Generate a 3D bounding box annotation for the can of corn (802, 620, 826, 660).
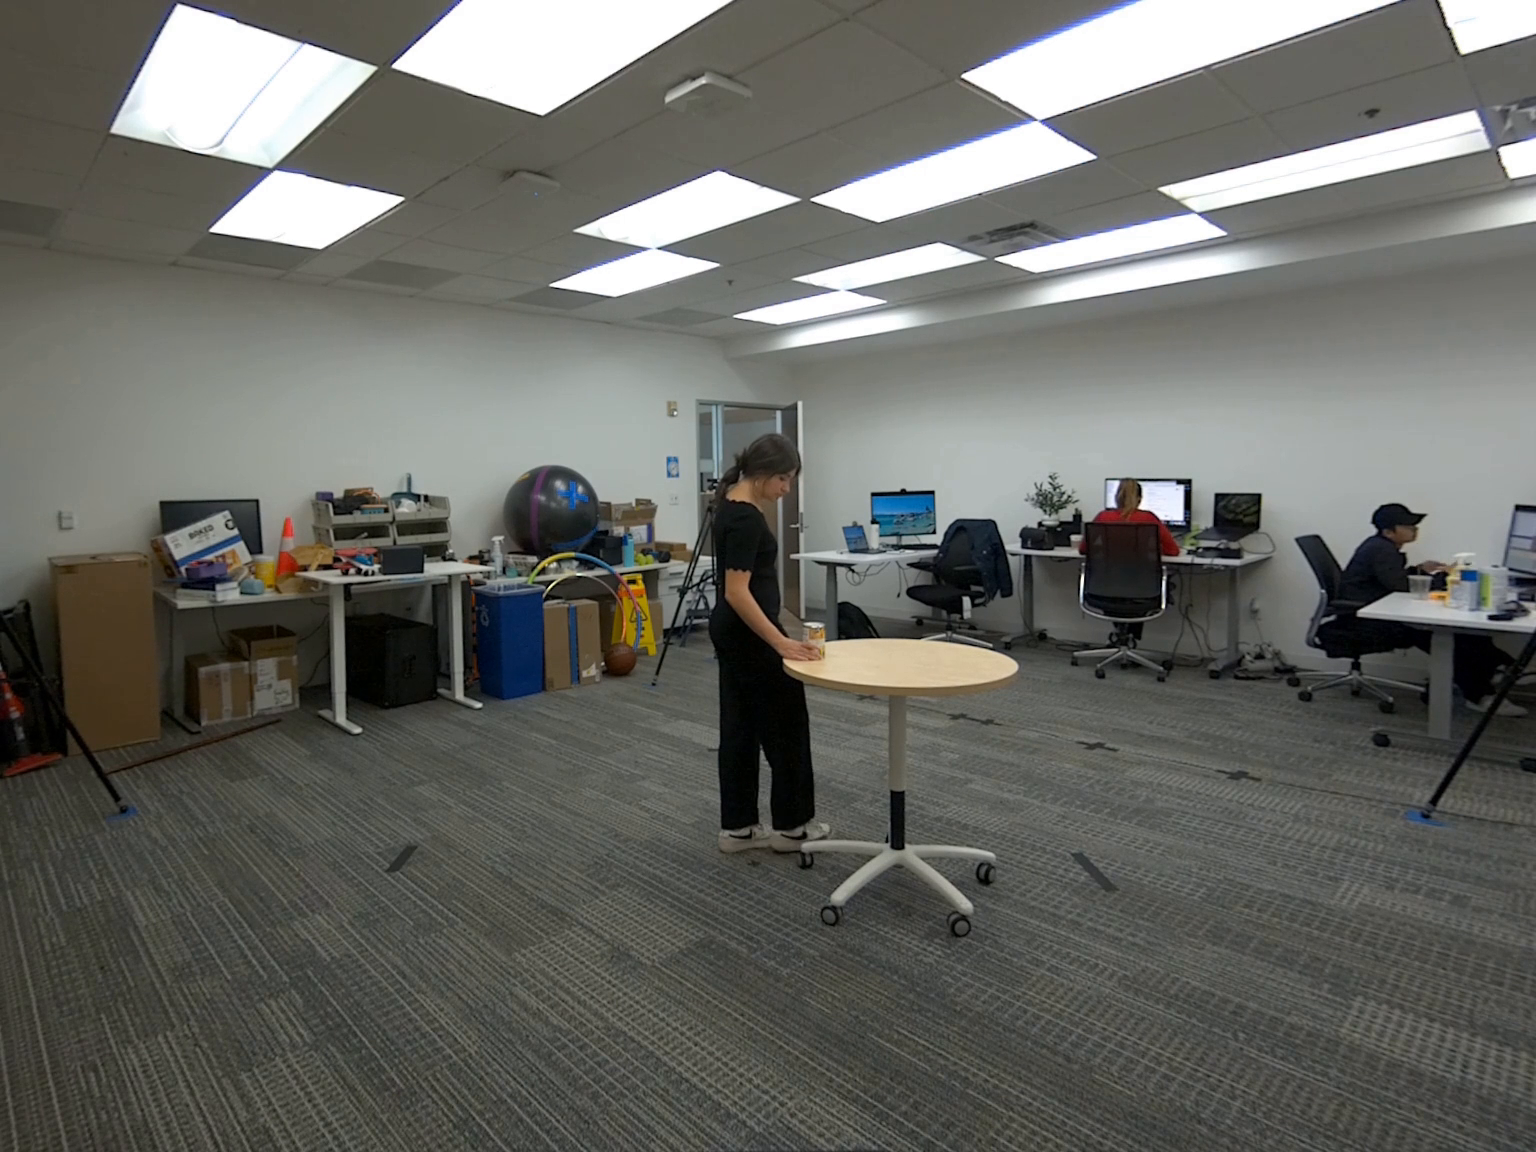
[{"bbox_3d":[0.151,0.221,2.921,0.074,0.110,0.075,-5,9,-1],"label":"can of corn"}]
